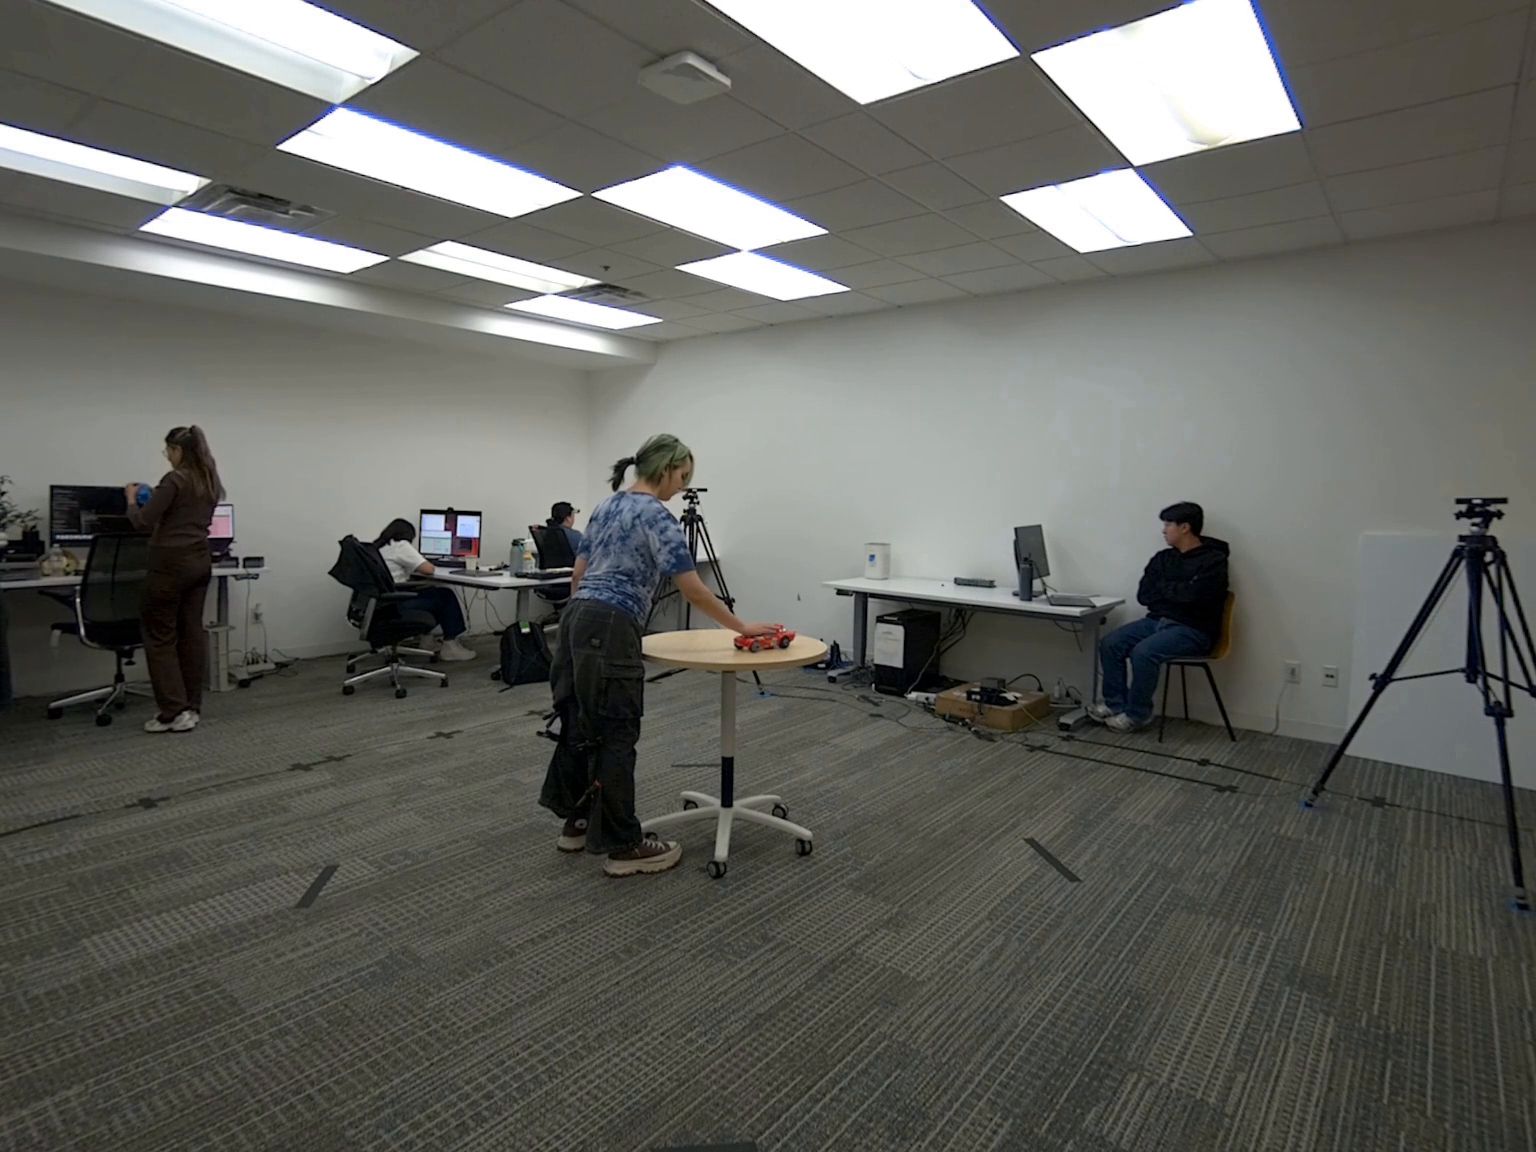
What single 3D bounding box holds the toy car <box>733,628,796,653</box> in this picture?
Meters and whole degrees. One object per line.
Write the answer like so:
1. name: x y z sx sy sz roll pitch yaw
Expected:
1. toy car: -0.015 0.244 3.266 0.249 0.082 0.134 -18 14 -35
